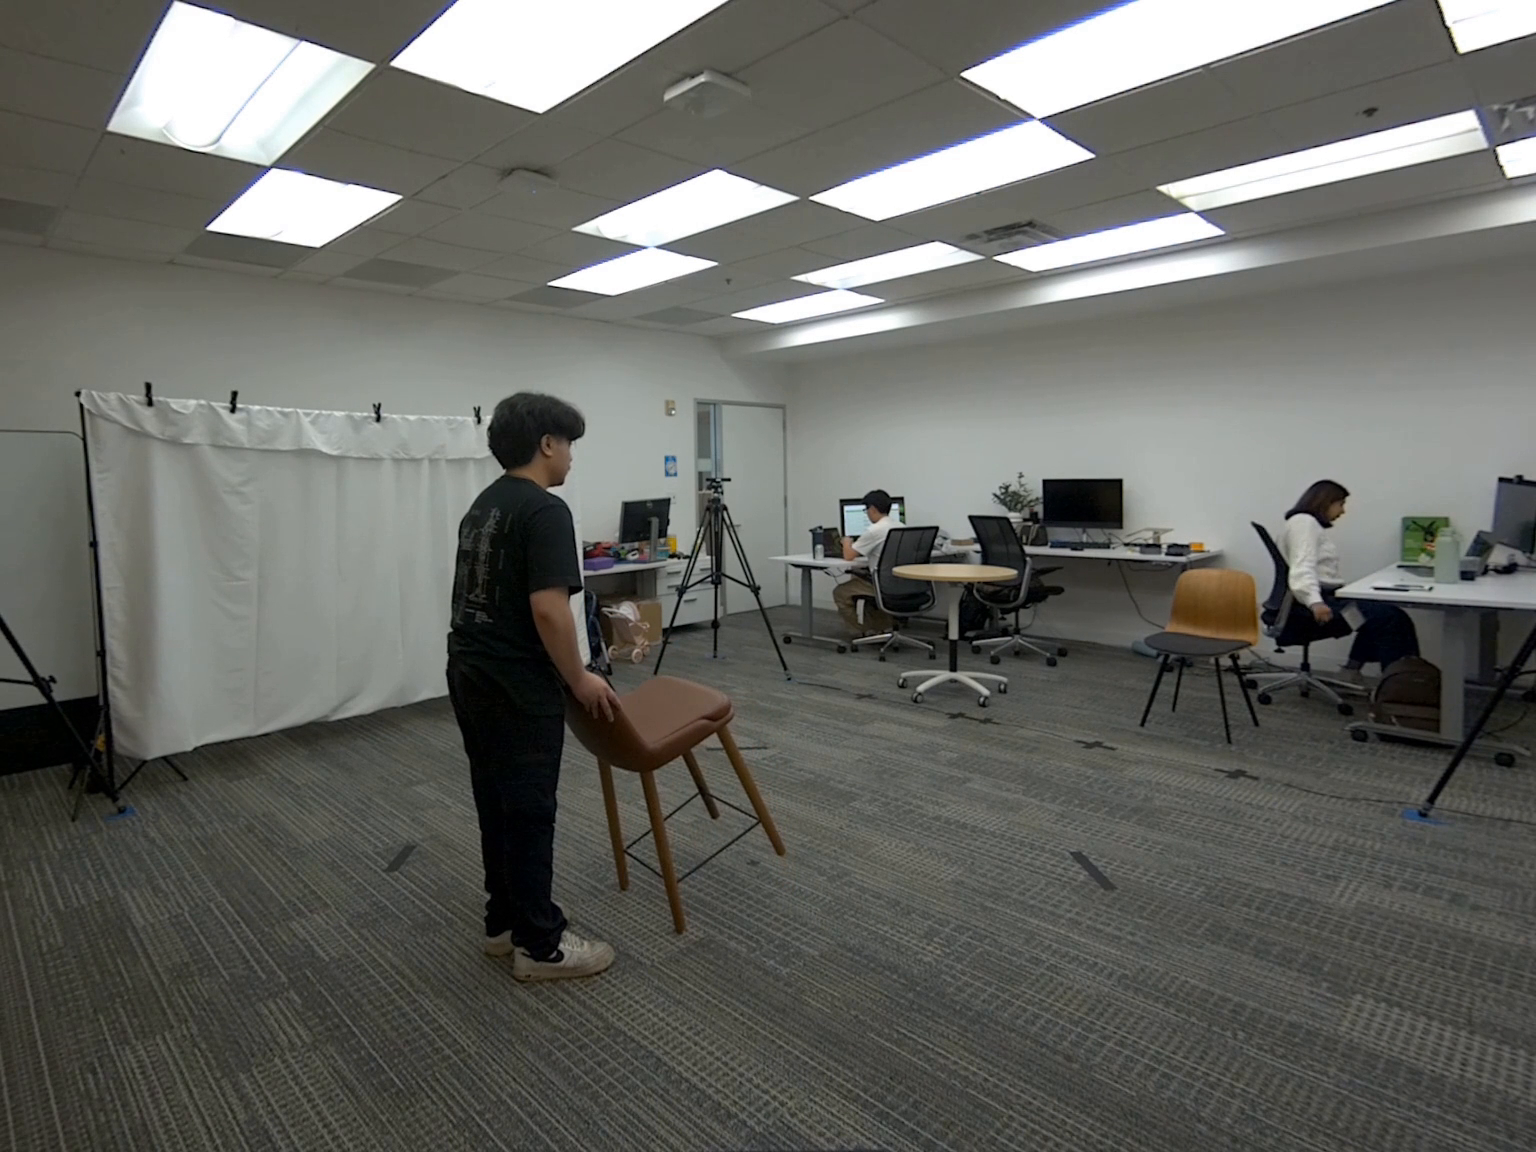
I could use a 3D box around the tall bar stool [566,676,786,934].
[{"bbox_3d":[-0.347,0.604,2.786,0.462,0.873,0.470,-28,20,-32],"label":"tall bar stool"}]
